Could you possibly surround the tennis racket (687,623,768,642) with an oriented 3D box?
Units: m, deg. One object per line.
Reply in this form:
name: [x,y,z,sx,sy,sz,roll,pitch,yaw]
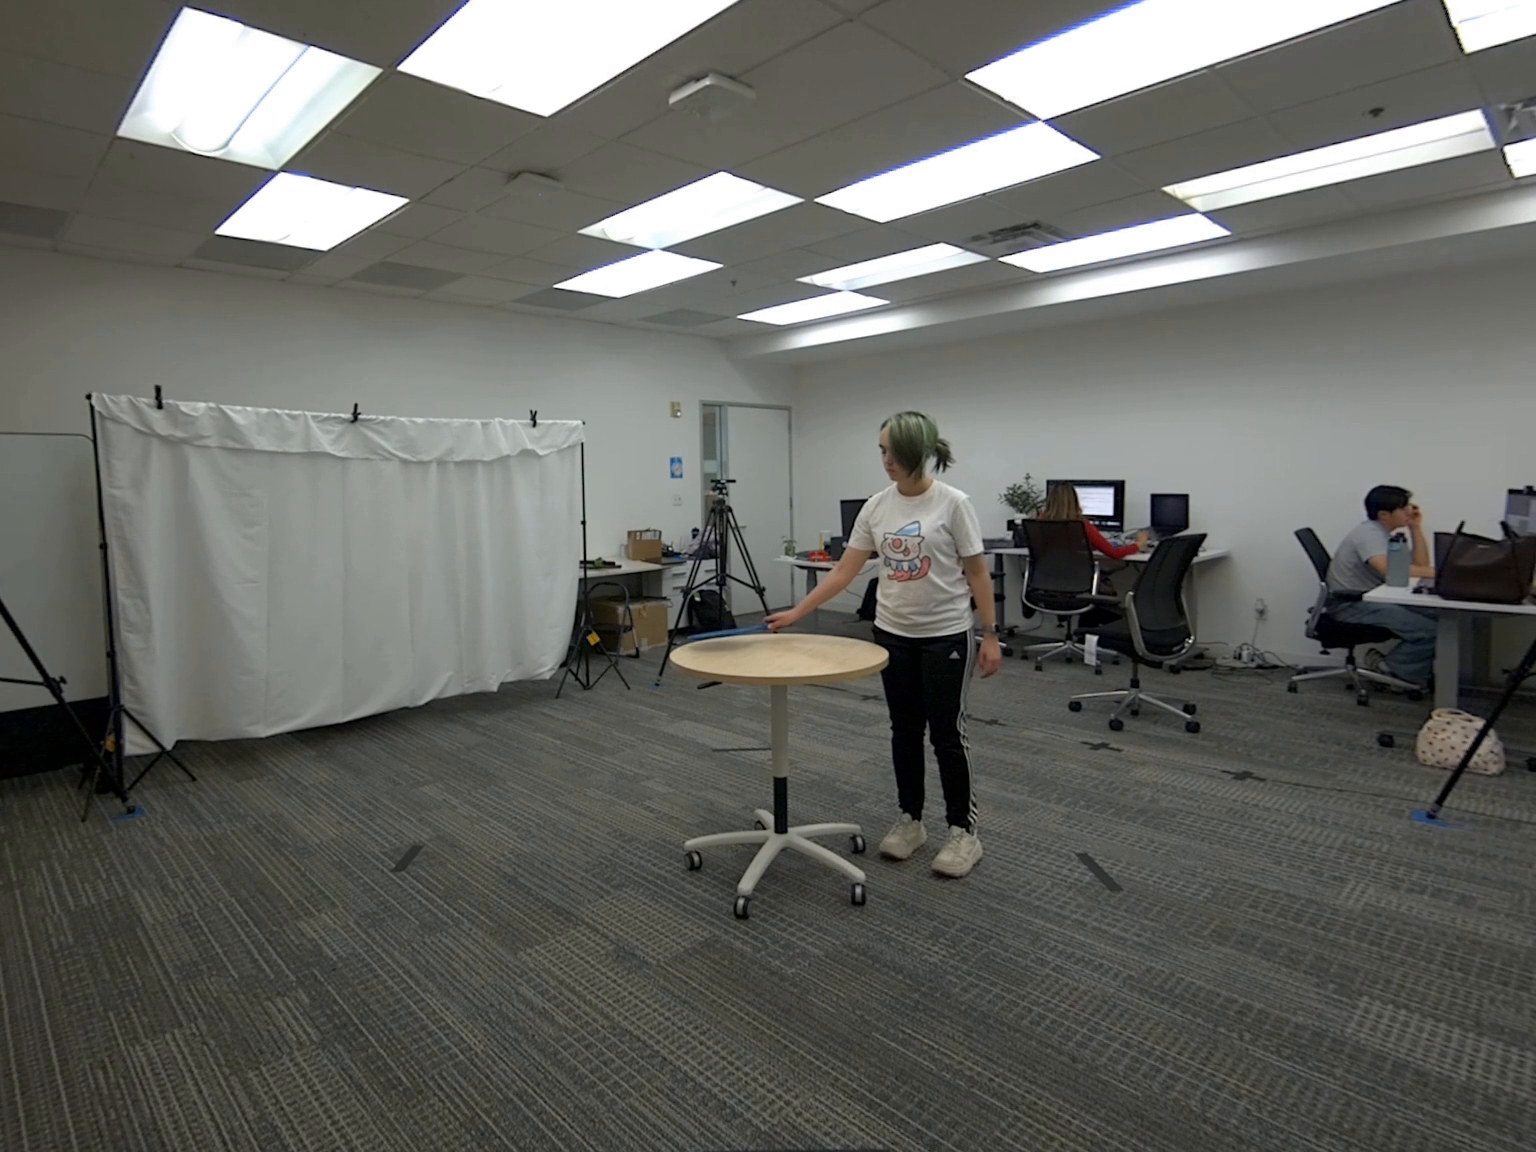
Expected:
tennis racket: [-0.096,0.207,3.181,0.424,0.032,0.217,-7,0,-26]
